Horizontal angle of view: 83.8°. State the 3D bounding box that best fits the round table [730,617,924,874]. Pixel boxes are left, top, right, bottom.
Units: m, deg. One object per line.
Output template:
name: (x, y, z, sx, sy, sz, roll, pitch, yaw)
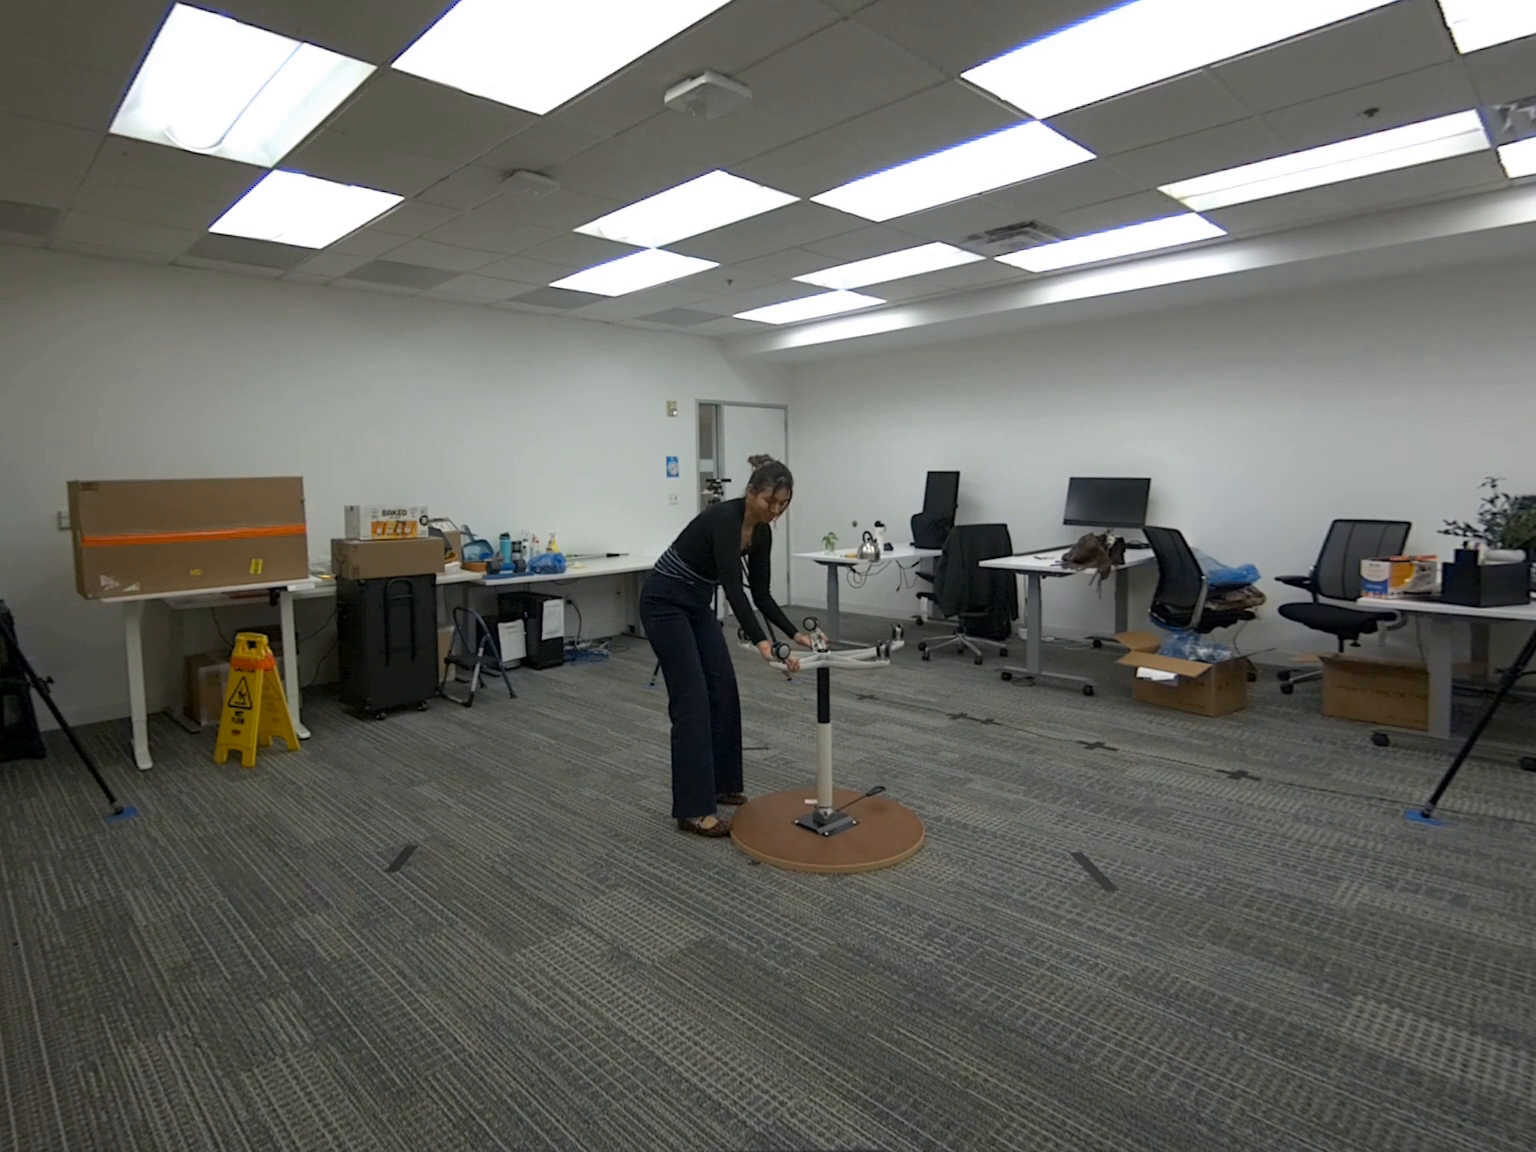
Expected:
round table: (0.218, 0.615, 3.368, 0.763, 0.792, 0.767, -2, 4, -2)
